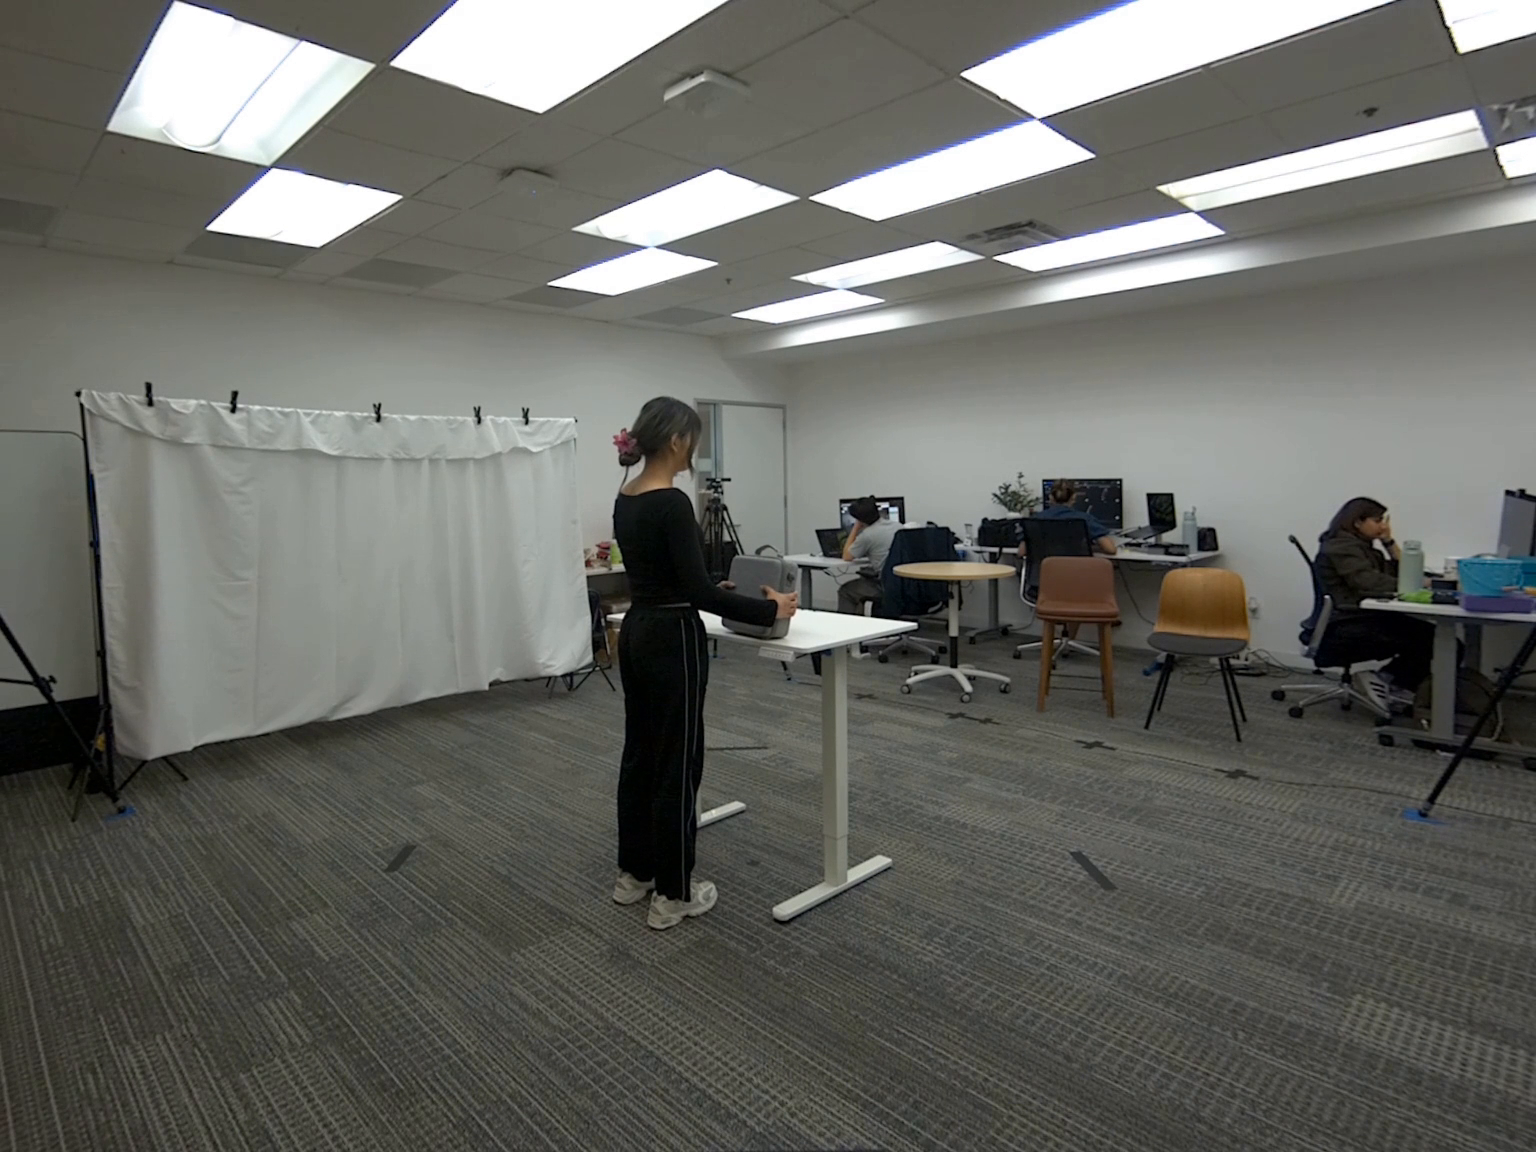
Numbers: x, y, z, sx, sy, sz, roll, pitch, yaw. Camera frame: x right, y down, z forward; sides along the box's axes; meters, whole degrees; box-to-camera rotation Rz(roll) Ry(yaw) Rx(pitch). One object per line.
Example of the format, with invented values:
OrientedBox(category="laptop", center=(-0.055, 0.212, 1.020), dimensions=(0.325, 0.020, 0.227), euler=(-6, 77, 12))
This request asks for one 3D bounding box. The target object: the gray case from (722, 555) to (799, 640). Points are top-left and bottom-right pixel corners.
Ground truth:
OrientedBox(category="gray case", center=(-0.025, 0.064, 2.787), dimensions=(0.101, 0.261, 0.265), euler=(12, -4, -38))
